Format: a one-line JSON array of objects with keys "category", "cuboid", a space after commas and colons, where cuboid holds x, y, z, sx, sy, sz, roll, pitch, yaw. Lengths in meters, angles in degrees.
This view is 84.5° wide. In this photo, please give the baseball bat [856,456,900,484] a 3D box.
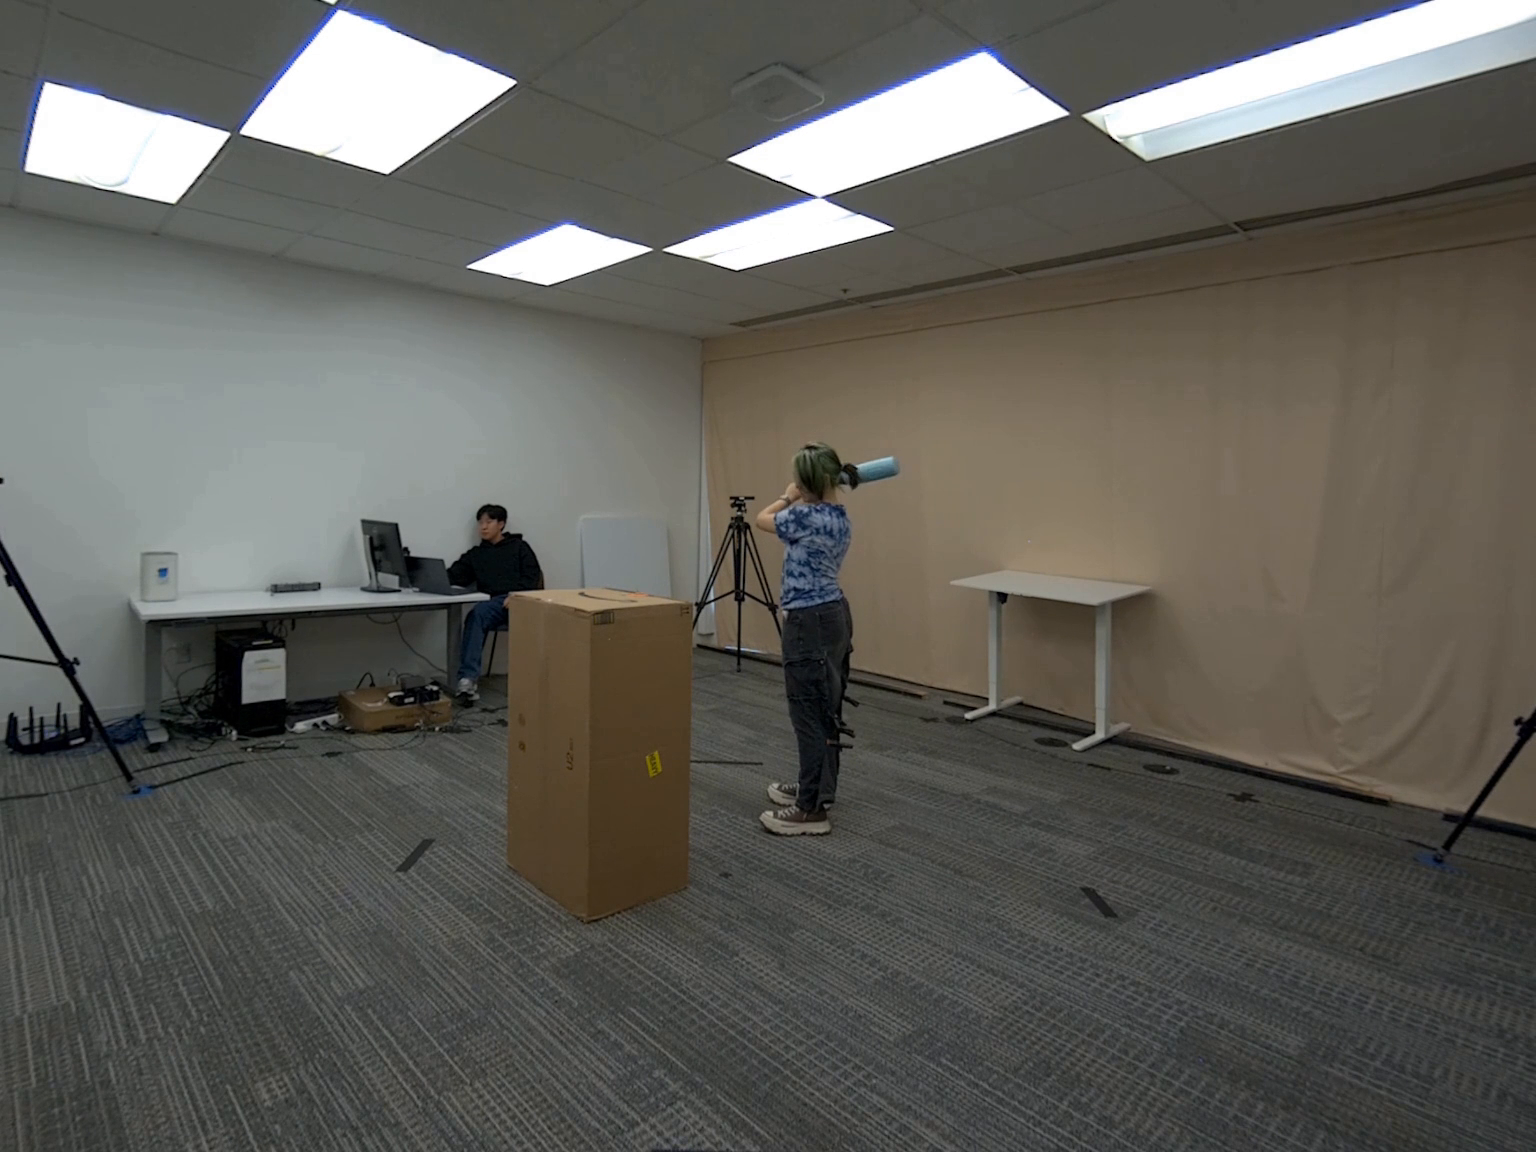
[{"category": "baseball bat", "cuboid": [0.321, -0.445, 3.837, 0.552, 0.089, 0.087, -10, -2, 31]}]
